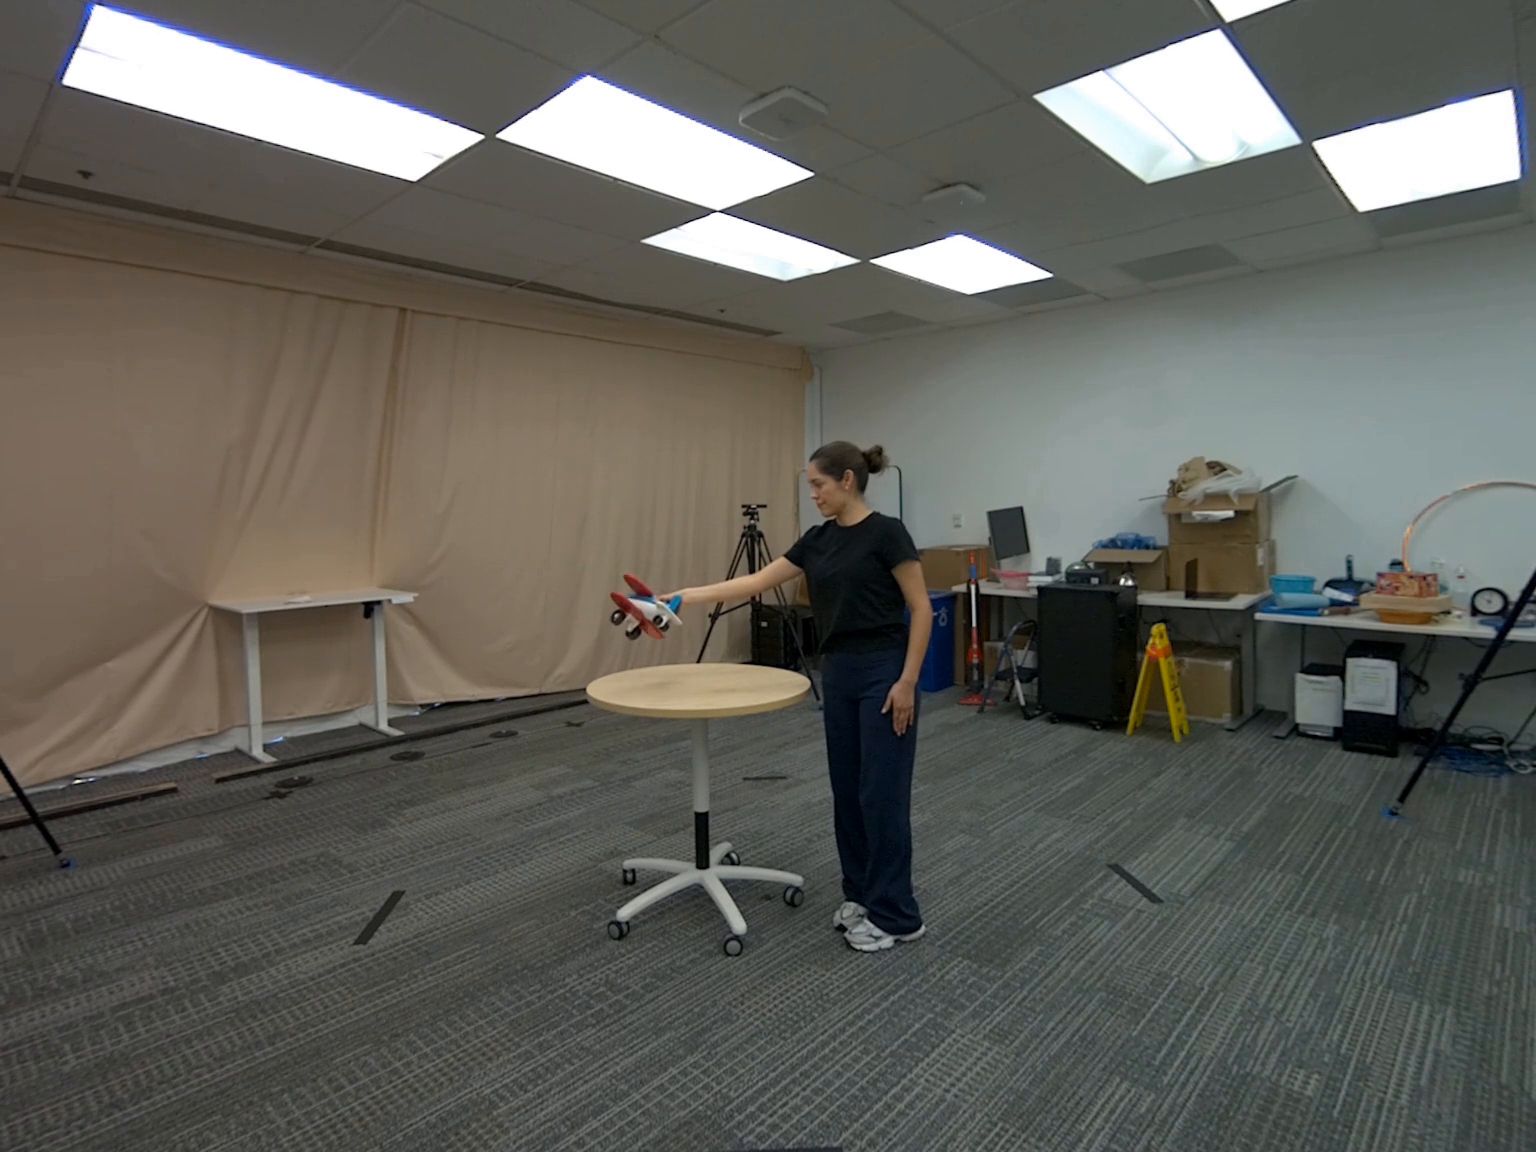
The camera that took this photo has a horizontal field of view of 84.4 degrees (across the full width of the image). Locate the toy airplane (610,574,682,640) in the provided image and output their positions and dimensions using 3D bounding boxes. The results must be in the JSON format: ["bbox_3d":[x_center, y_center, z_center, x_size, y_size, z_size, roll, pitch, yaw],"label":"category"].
[{"bbox_3d":[-0.381,0.134,2.855,0.266,0.157,0.244,11,-35,21],"label":"toy airplane"}]
